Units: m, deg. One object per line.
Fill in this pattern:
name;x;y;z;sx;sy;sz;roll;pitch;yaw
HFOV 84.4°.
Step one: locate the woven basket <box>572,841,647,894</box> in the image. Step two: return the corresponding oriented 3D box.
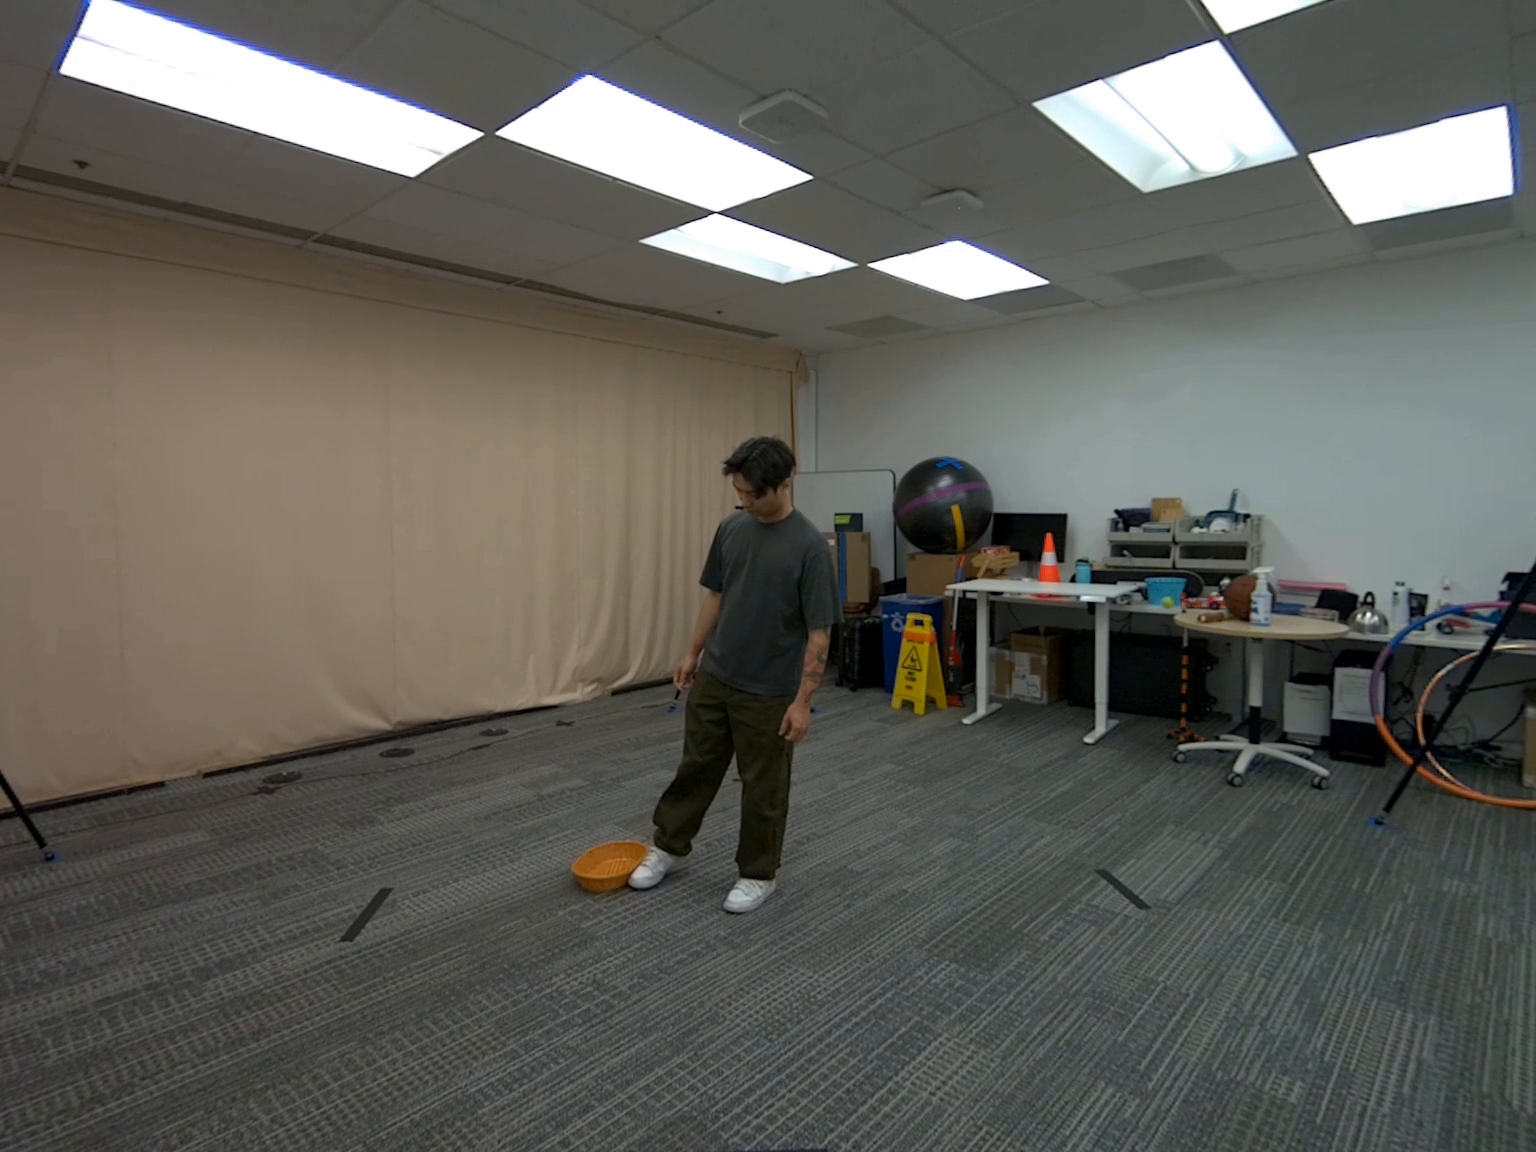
woven basket;-0.588;1.094;3.173;0.259;0.073;0.342;0;5;25
